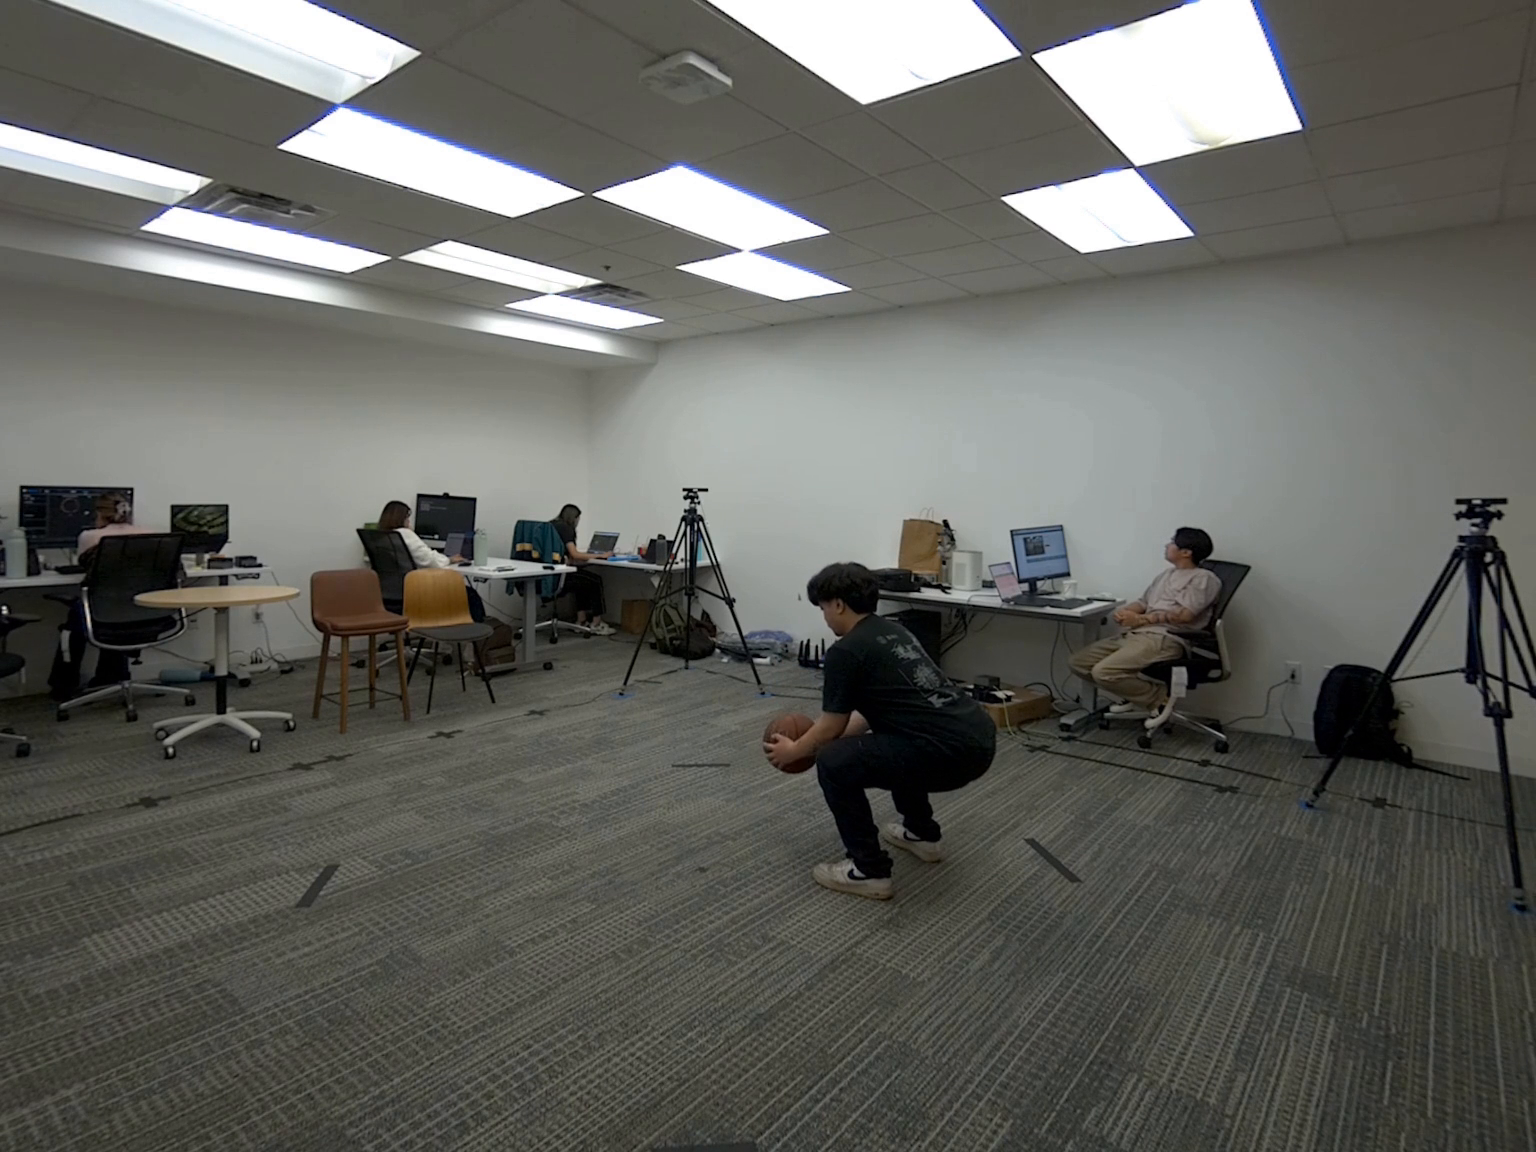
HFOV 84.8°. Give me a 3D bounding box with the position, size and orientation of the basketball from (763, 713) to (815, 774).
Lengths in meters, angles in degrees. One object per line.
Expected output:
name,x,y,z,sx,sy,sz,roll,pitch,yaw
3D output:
basketball,0.095,0.662,3.423,0.235,0.235,0.237,1,4,-2
